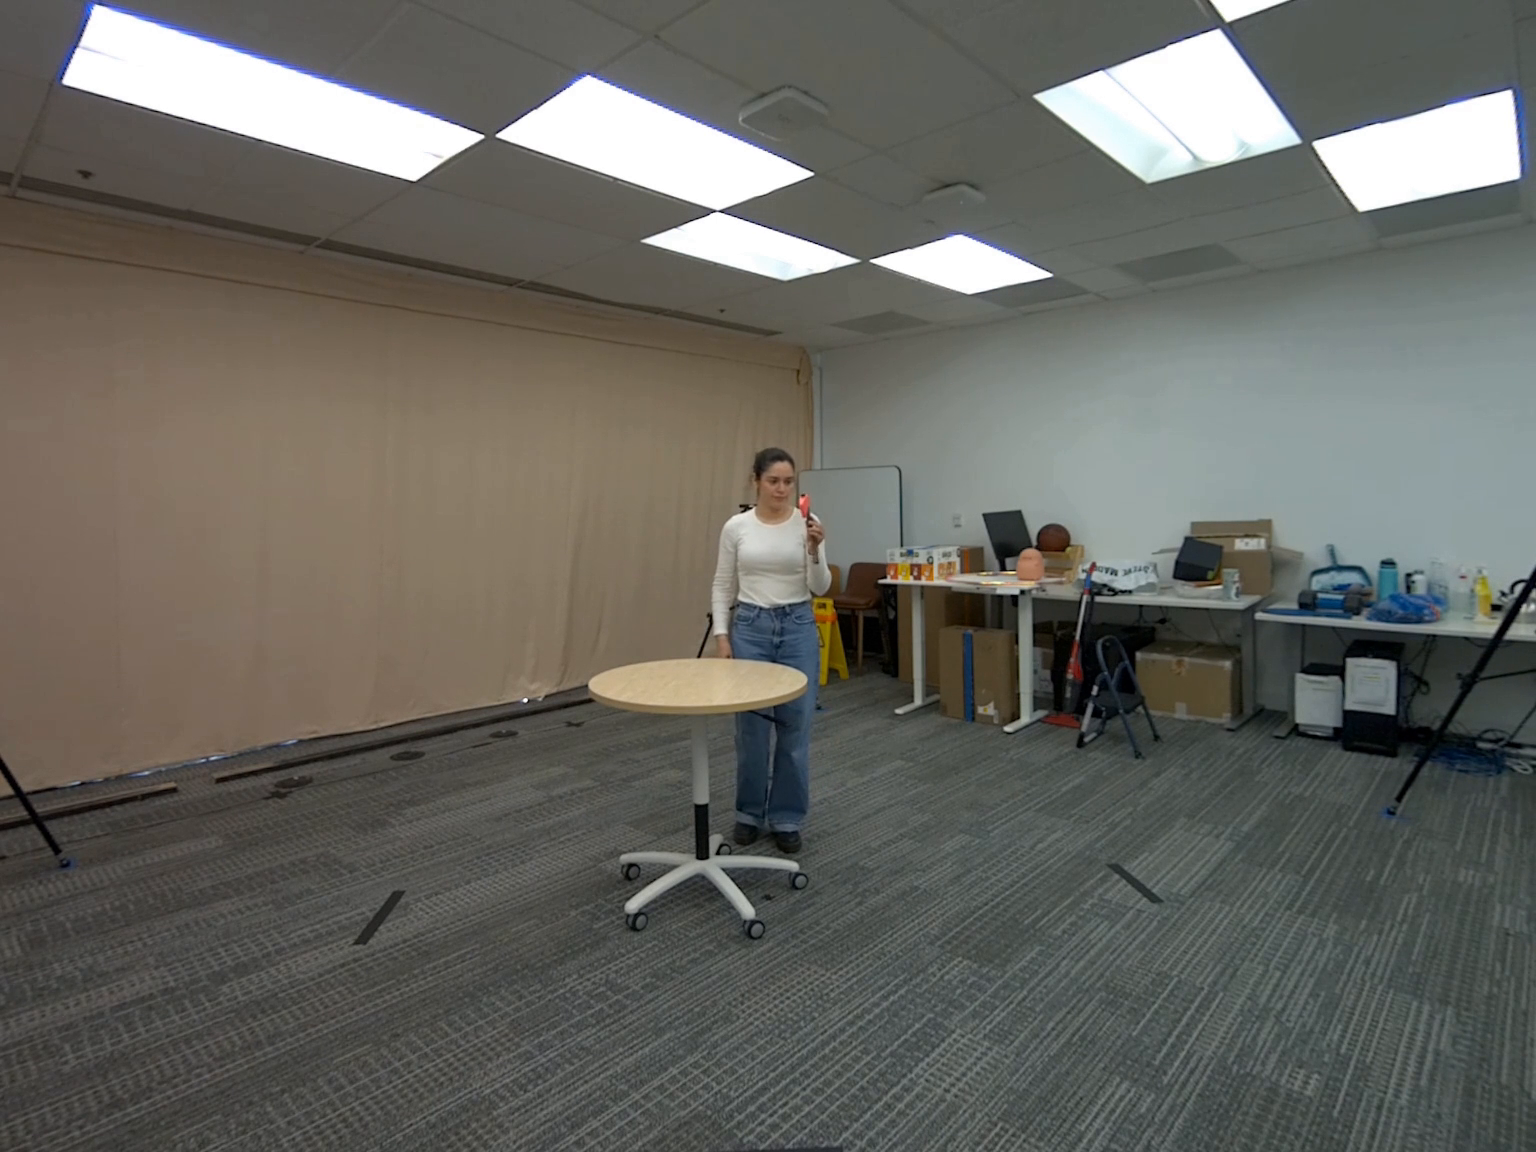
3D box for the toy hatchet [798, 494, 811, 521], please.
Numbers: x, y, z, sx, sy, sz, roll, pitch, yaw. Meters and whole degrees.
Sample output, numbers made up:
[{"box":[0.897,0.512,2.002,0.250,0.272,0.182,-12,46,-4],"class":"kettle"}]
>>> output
[{"box":[0.151,-0.177,3.144,0.030,0.270,0.129,-8,1,13],"class":"toy hatchet"}]
